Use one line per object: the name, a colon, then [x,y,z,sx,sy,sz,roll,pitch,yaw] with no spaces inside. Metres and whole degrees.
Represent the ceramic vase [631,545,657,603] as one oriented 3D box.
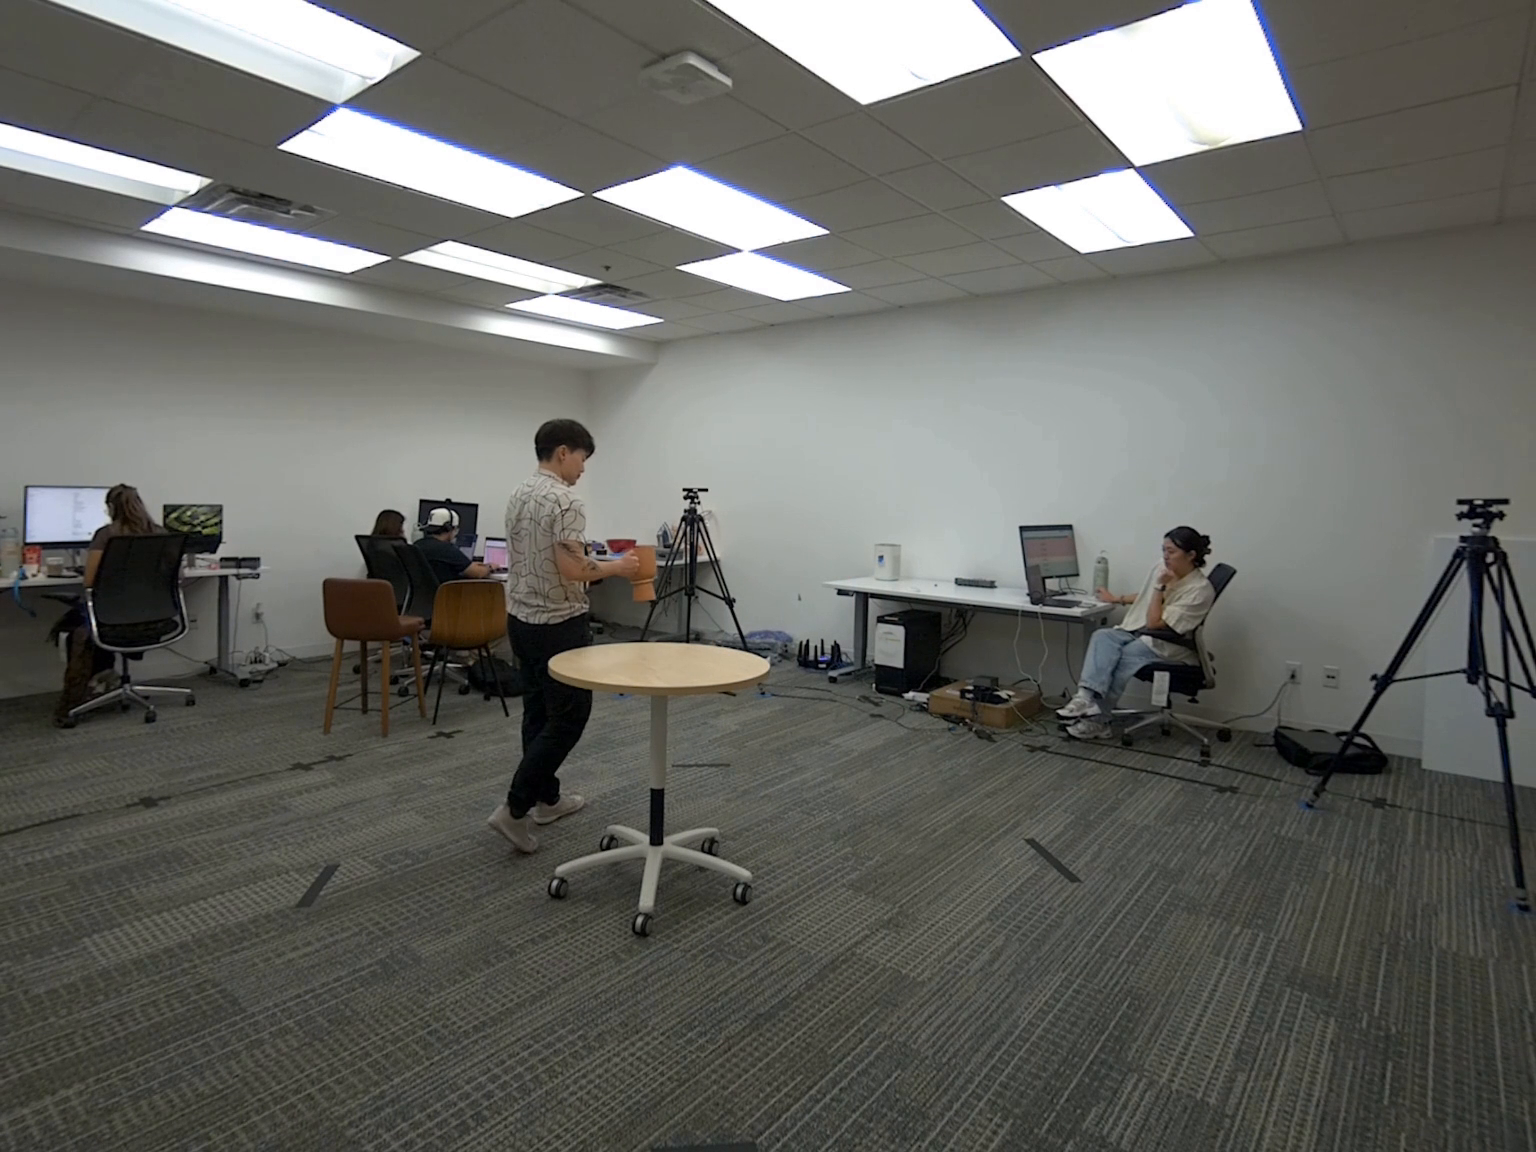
ceramic vase: [-0.554,-0.005,3.546,0.154,0.220,0.138,-2,-3,-37]
